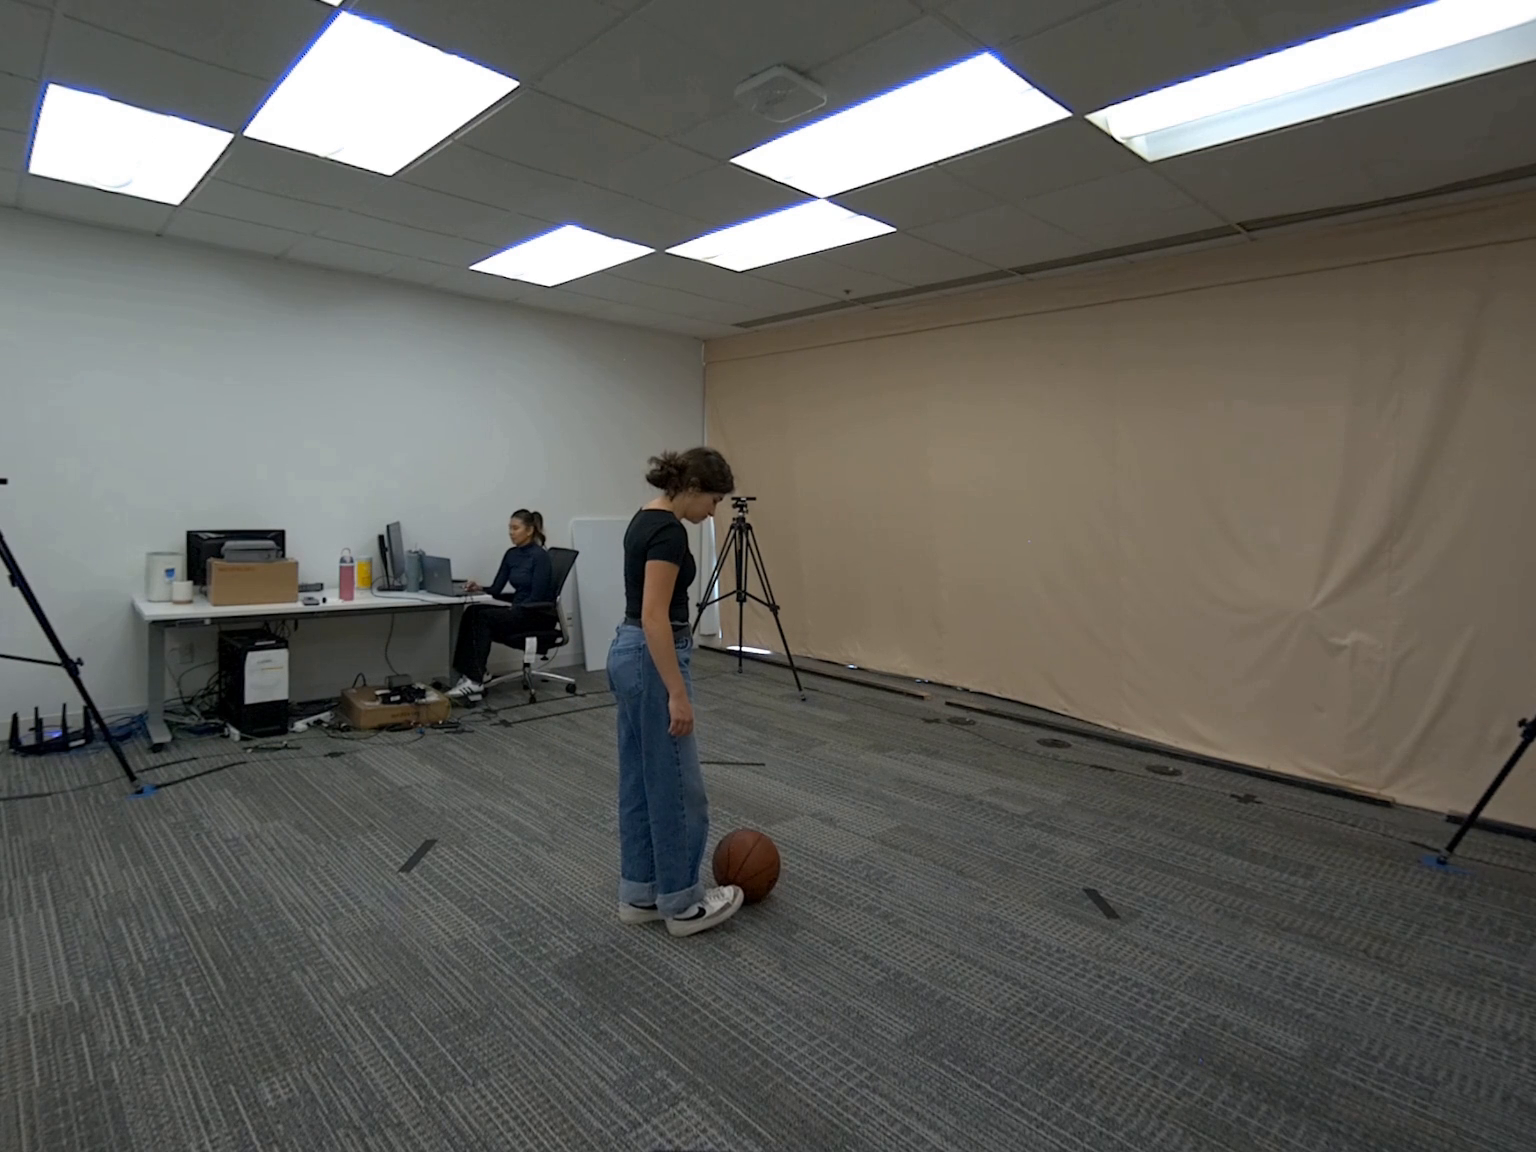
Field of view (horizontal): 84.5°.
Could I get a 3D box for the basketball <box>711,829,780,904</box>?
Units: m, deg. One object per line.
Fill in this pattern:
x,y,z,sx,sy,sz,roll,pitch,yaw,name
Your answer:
-0.084,1.004,2.922,0.236,0.235,0.237,1,4,-1,basketball
